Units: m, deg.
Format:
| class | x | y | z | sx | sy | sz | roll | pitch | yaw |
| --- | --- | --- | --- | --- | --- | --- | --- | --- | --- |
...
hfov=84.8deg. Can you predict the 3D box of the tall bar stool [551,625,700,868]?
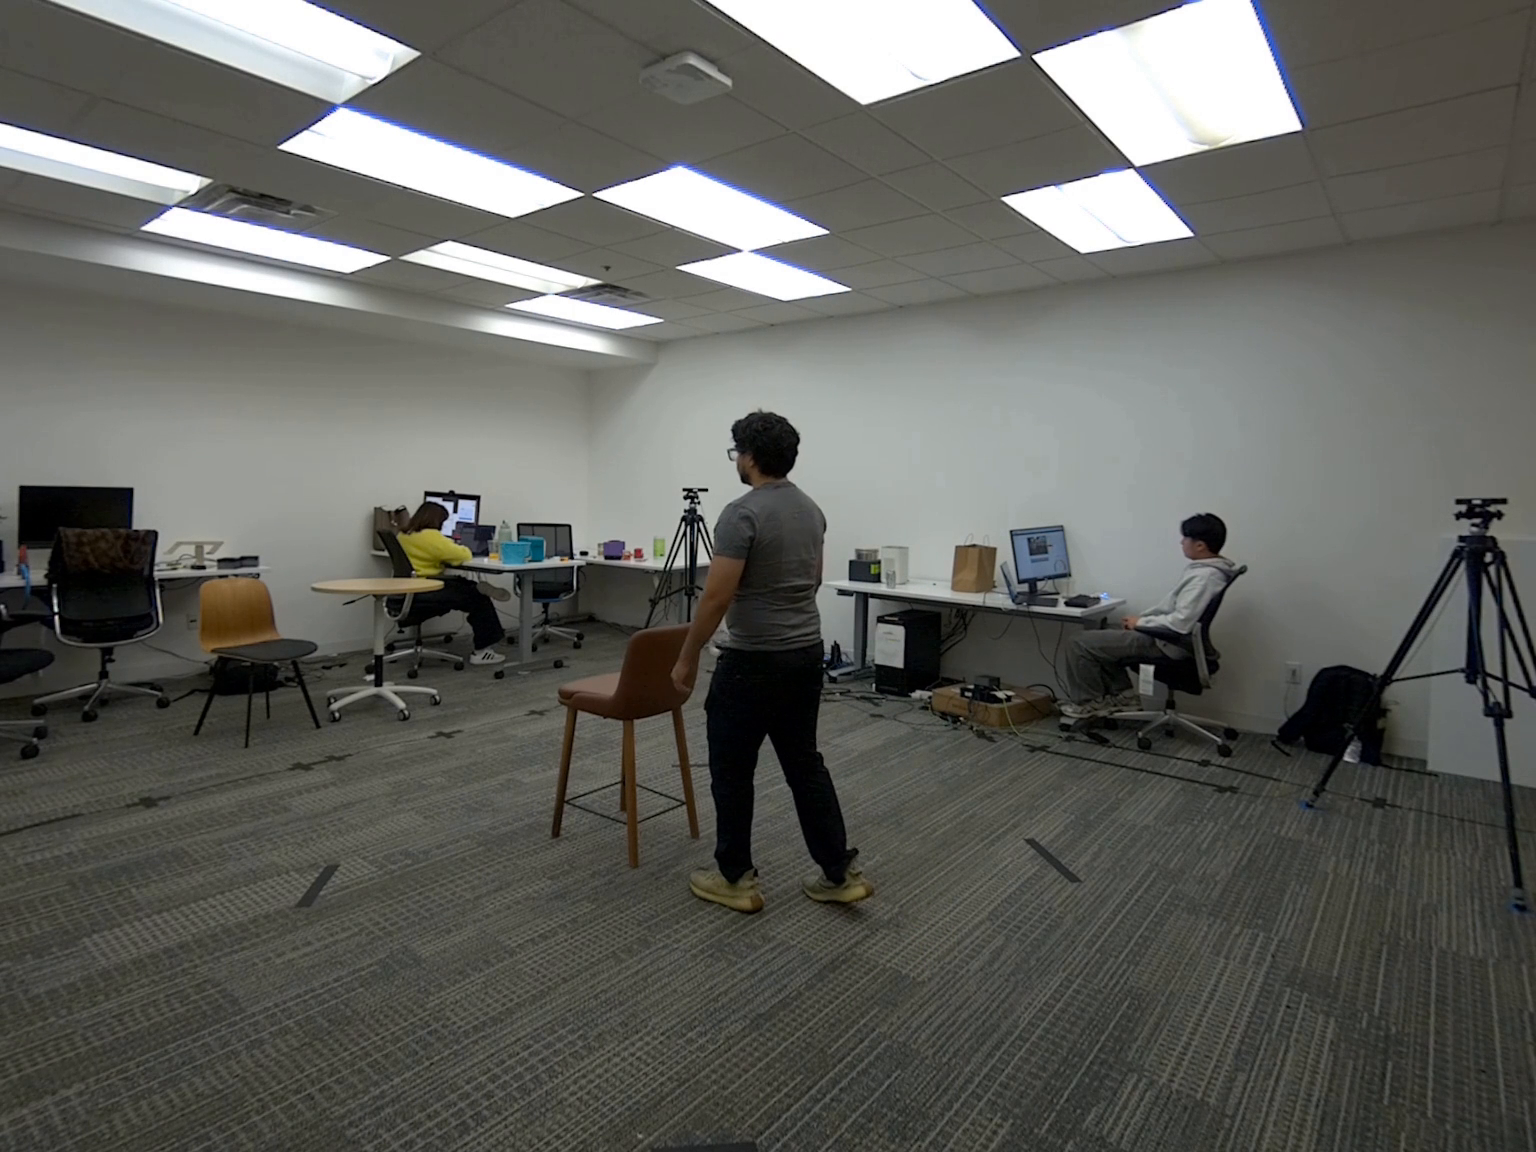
| class | x | y | z | sx | sy | sz | roll | pitch | yaw |
| --- | --- | --- | --- | --- | --- | --- | --- | --- | --- |
| tall bar stool | -0.559 | 0.603 | 3.368 | 0.483 | 0.887 | 0.443 | 6 | 5 | 38 |
